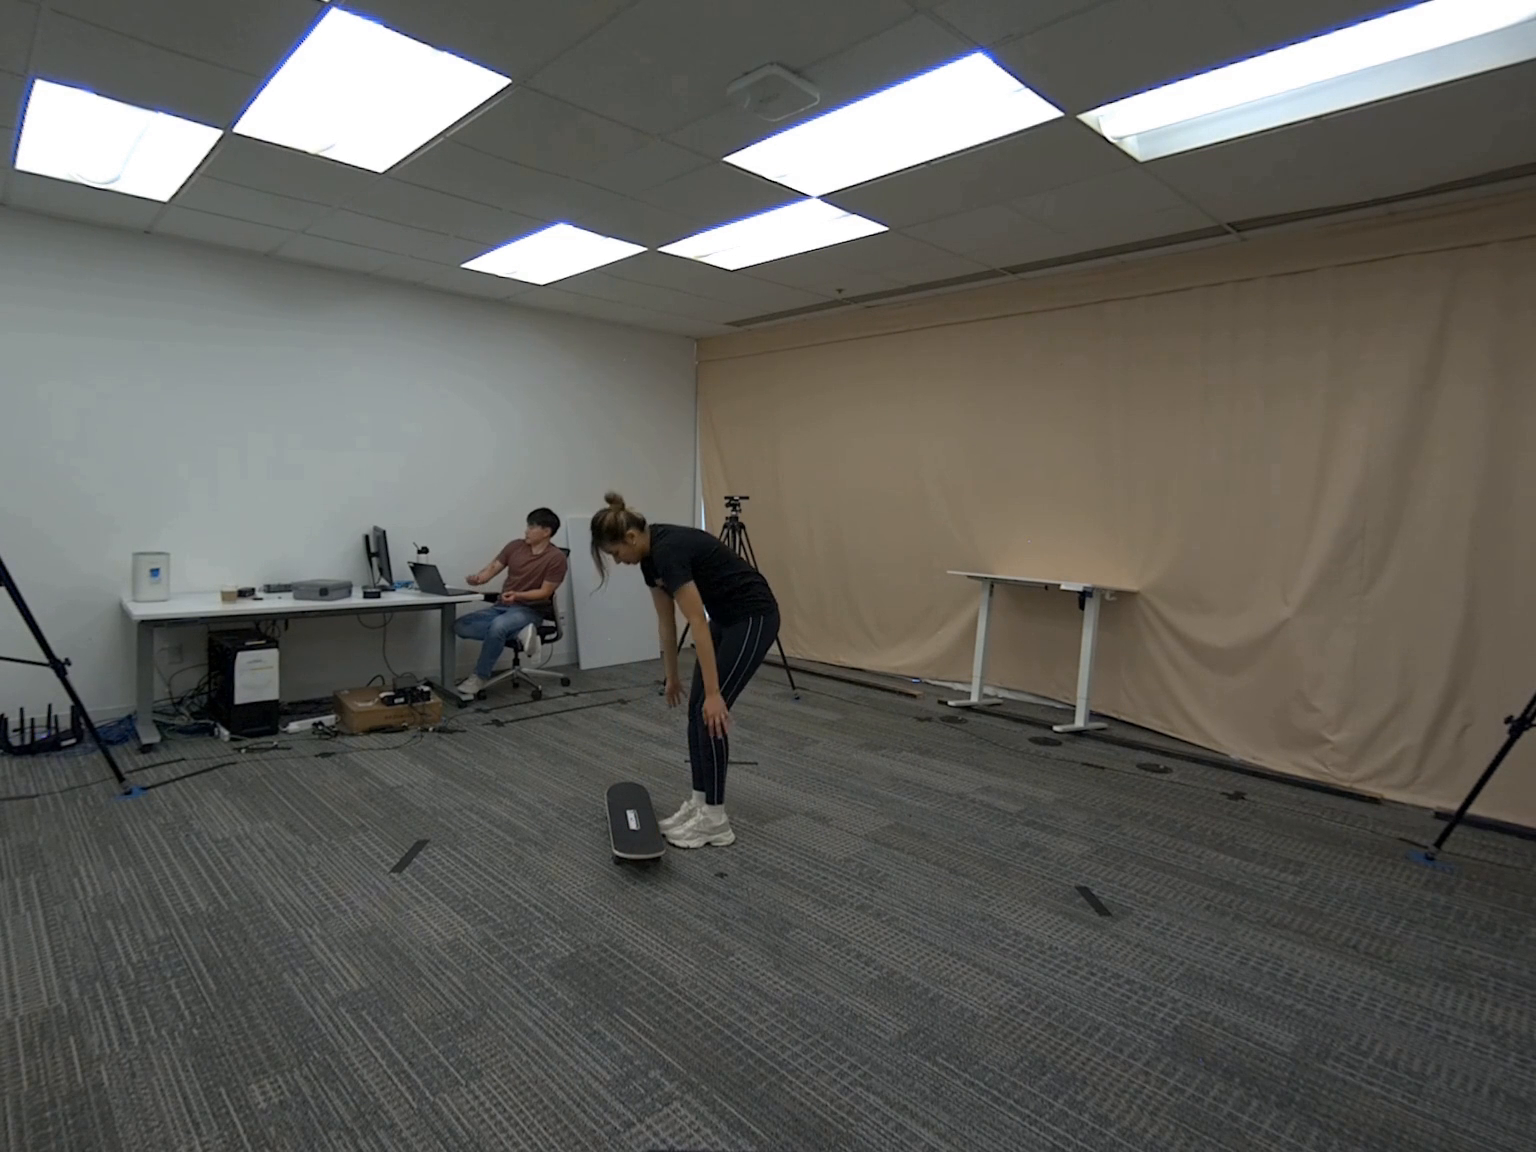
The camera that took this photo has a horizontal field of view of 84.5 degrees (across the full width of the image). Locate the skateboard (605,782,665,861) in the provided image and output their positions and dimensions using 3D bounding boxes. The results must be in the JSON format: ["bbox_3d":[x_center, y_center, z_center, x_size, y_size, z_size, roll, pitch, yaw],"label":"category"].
[{"bbox_3d":[-0.554,1.014,3.390,0.191,0.110,0.795,2,5,-14],"label":"skateboard"}]
